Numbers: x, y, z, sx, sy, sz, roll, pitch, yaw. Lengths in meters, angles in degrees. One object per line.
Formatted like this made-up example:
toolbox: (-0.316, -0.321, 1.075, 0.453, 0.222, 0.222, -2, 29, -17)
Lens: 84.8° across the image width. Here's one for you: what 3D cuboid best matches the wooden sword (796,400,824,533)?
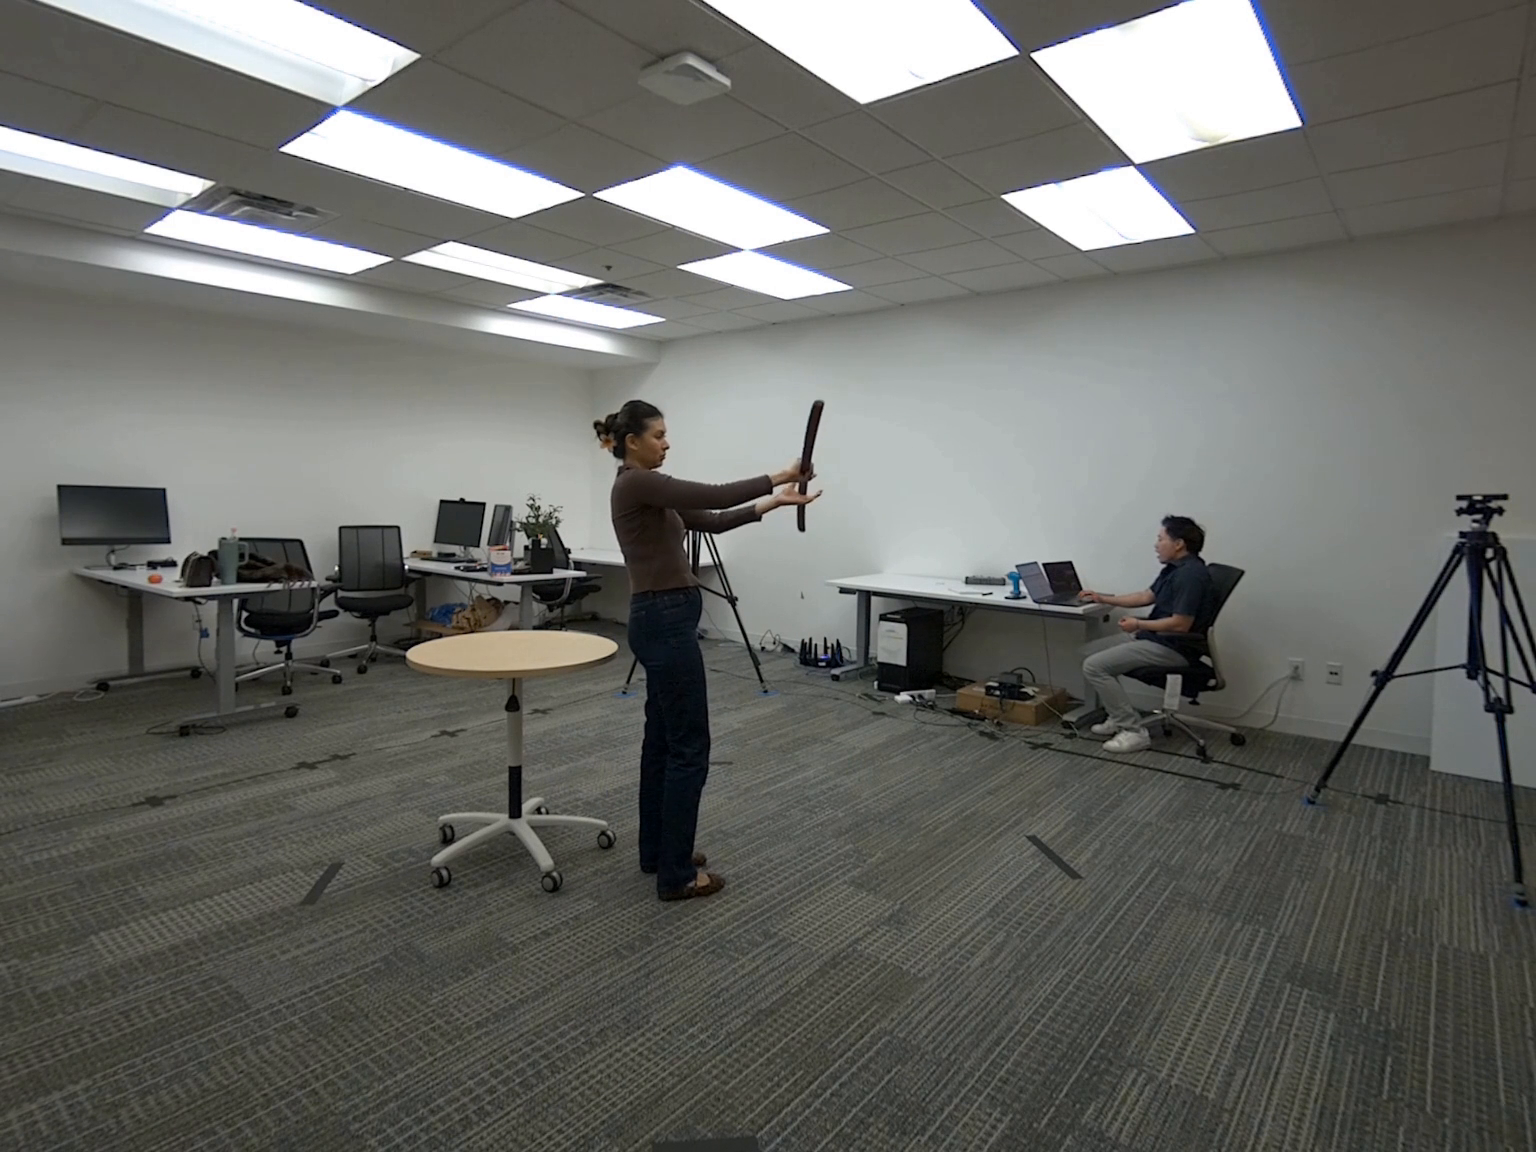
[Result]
wooden sword: (0.126, -0.344, 3.020, 0.024, 0.052, 1.004, 0, -20, -2)
